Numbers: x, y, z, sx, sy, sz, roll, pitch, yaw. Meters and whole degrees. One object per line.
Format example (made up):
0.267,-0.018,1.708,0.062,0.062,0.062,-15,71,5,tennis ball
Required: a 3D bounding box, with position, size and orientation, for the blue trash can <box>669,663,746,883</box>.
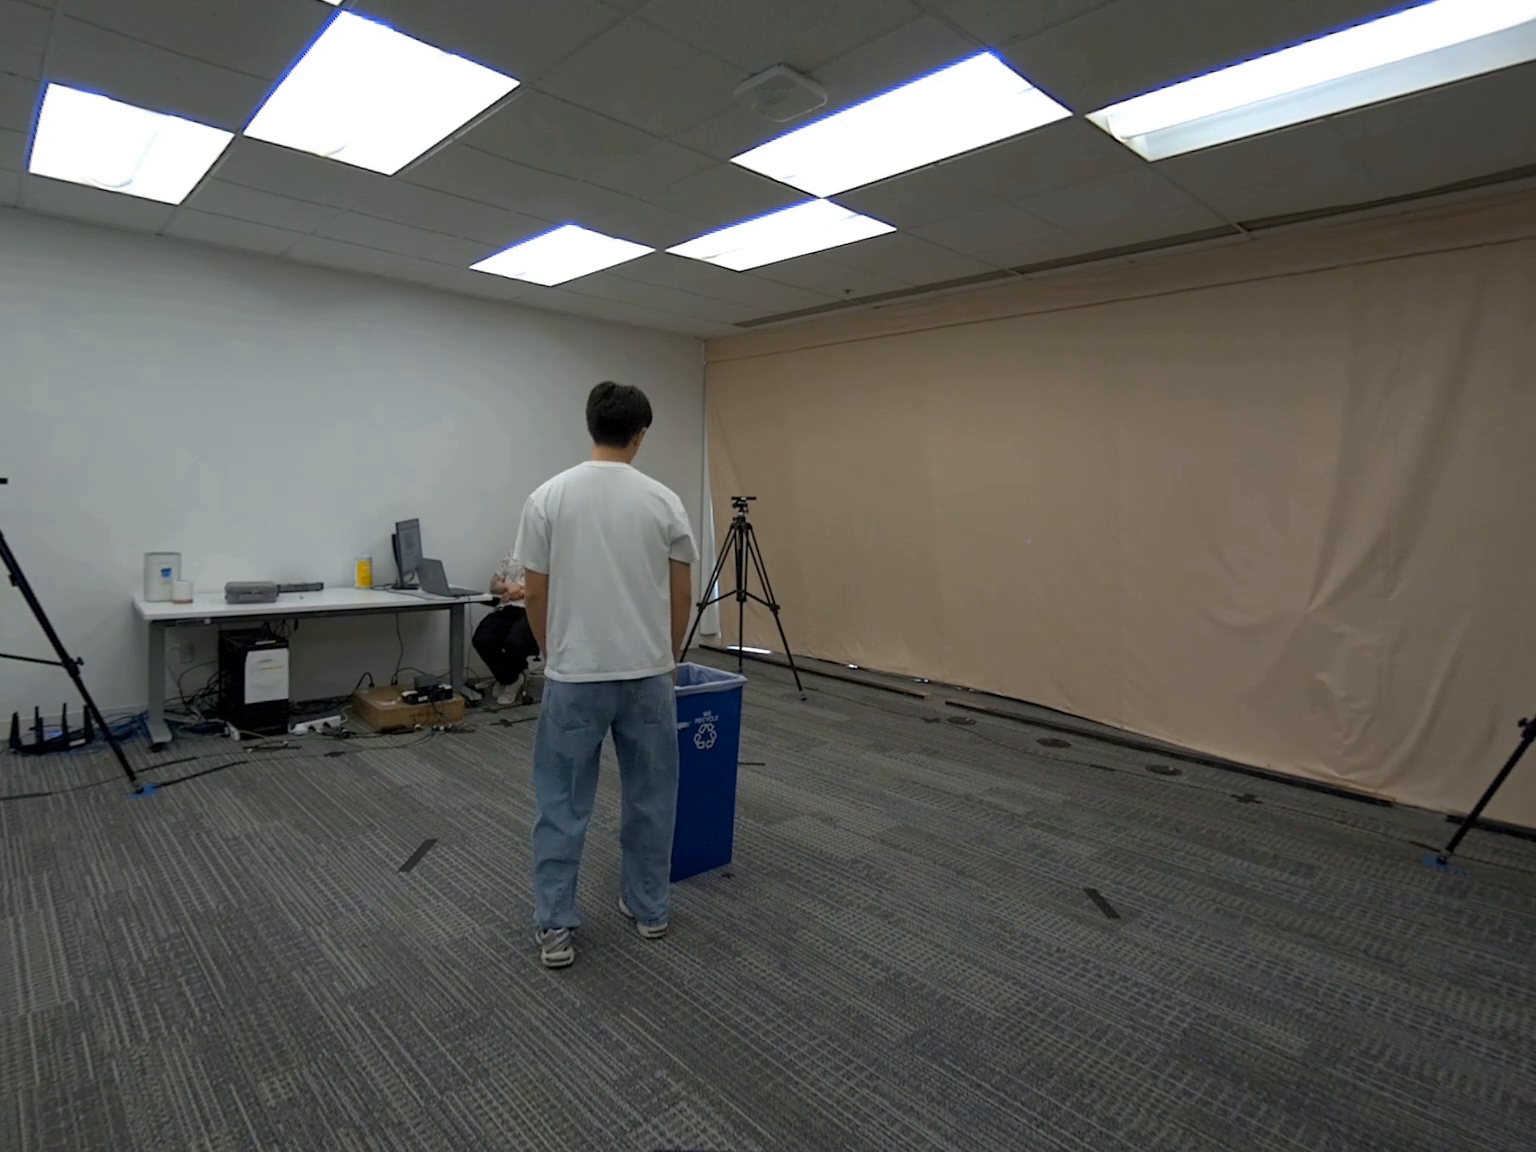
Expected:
-0.338,0.732,3.228,0.365,0.712,0.388,-2,5,-43,blue trash can
